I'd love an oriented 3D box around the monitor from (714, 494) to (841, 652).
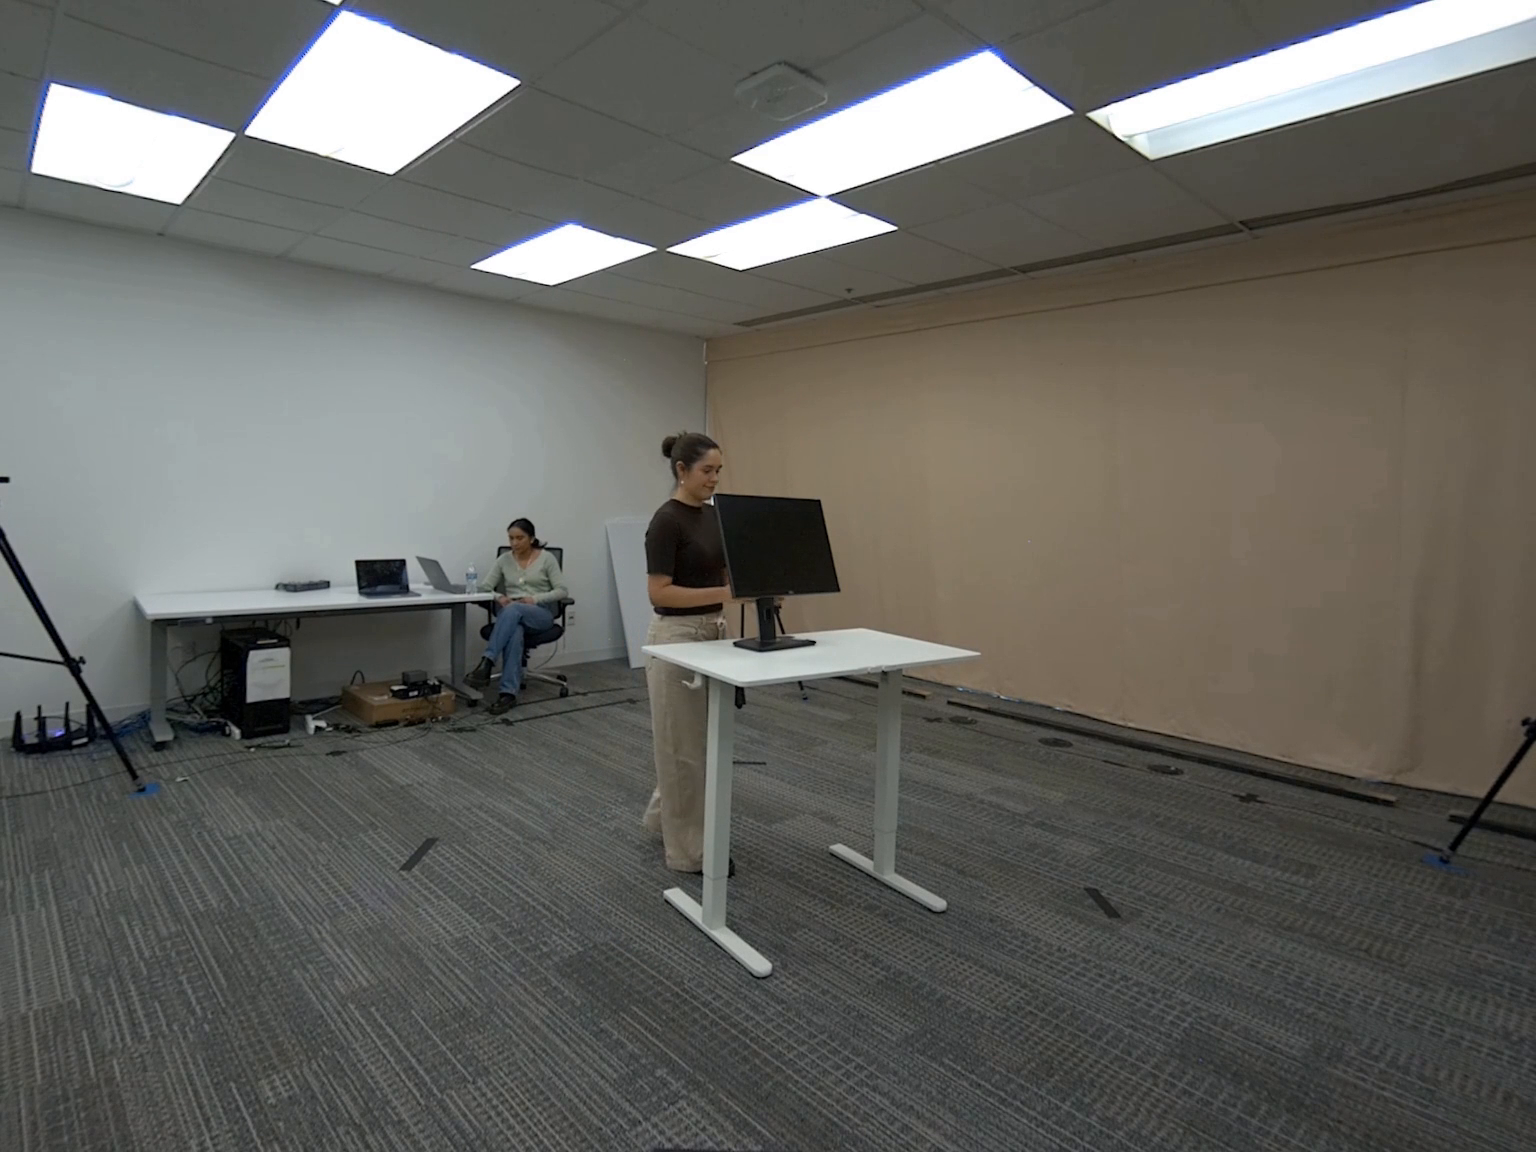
[{"bbox_3d":[0.017,-0.011,2.912,0.191,0.522,0.526,0,1,42],"label":"monitor"}]
